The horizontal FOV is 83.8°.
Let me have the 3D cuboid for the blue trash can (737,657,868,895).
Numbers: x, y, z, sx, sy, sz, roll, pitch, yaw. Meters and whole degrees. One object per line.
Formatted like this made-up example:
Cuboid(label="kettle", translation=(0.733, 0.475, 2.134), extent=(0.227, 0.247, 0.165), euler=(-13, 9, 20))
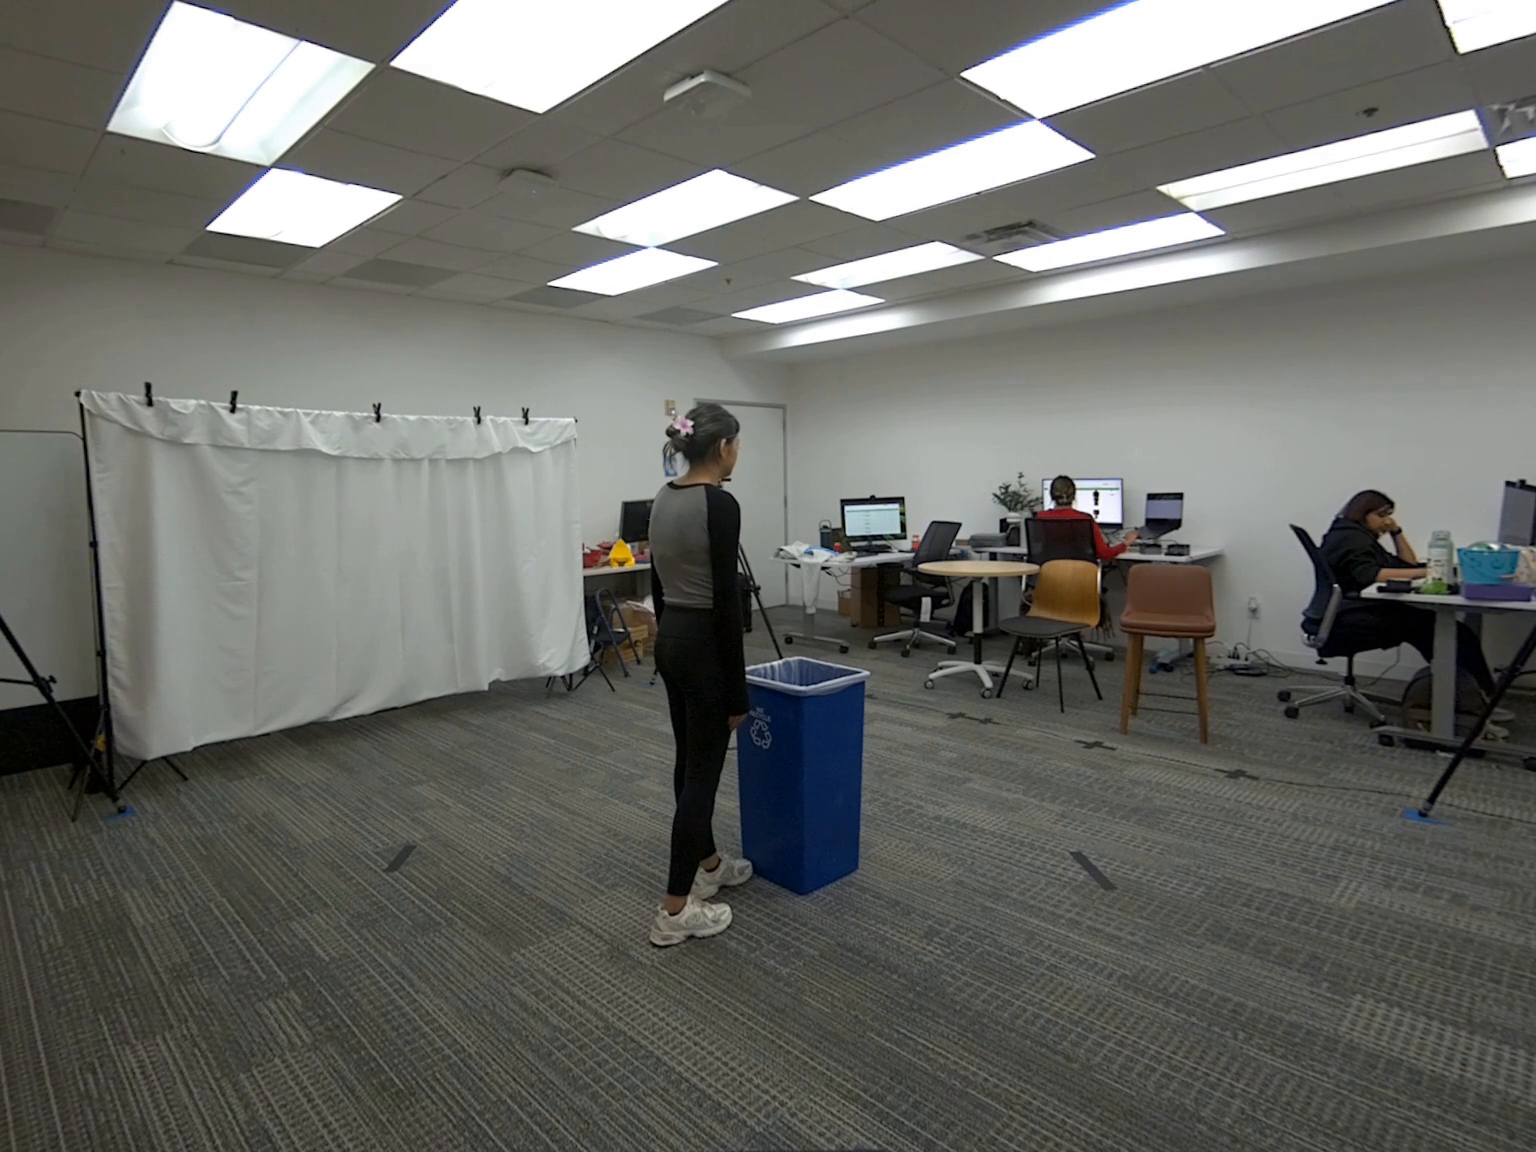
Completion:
Cuboid(label="blue trash can", translation=(0.124, 0.690, 3.032), extent=(0.368, 0.711, 0.385), euler=(-5, 6, -43))
